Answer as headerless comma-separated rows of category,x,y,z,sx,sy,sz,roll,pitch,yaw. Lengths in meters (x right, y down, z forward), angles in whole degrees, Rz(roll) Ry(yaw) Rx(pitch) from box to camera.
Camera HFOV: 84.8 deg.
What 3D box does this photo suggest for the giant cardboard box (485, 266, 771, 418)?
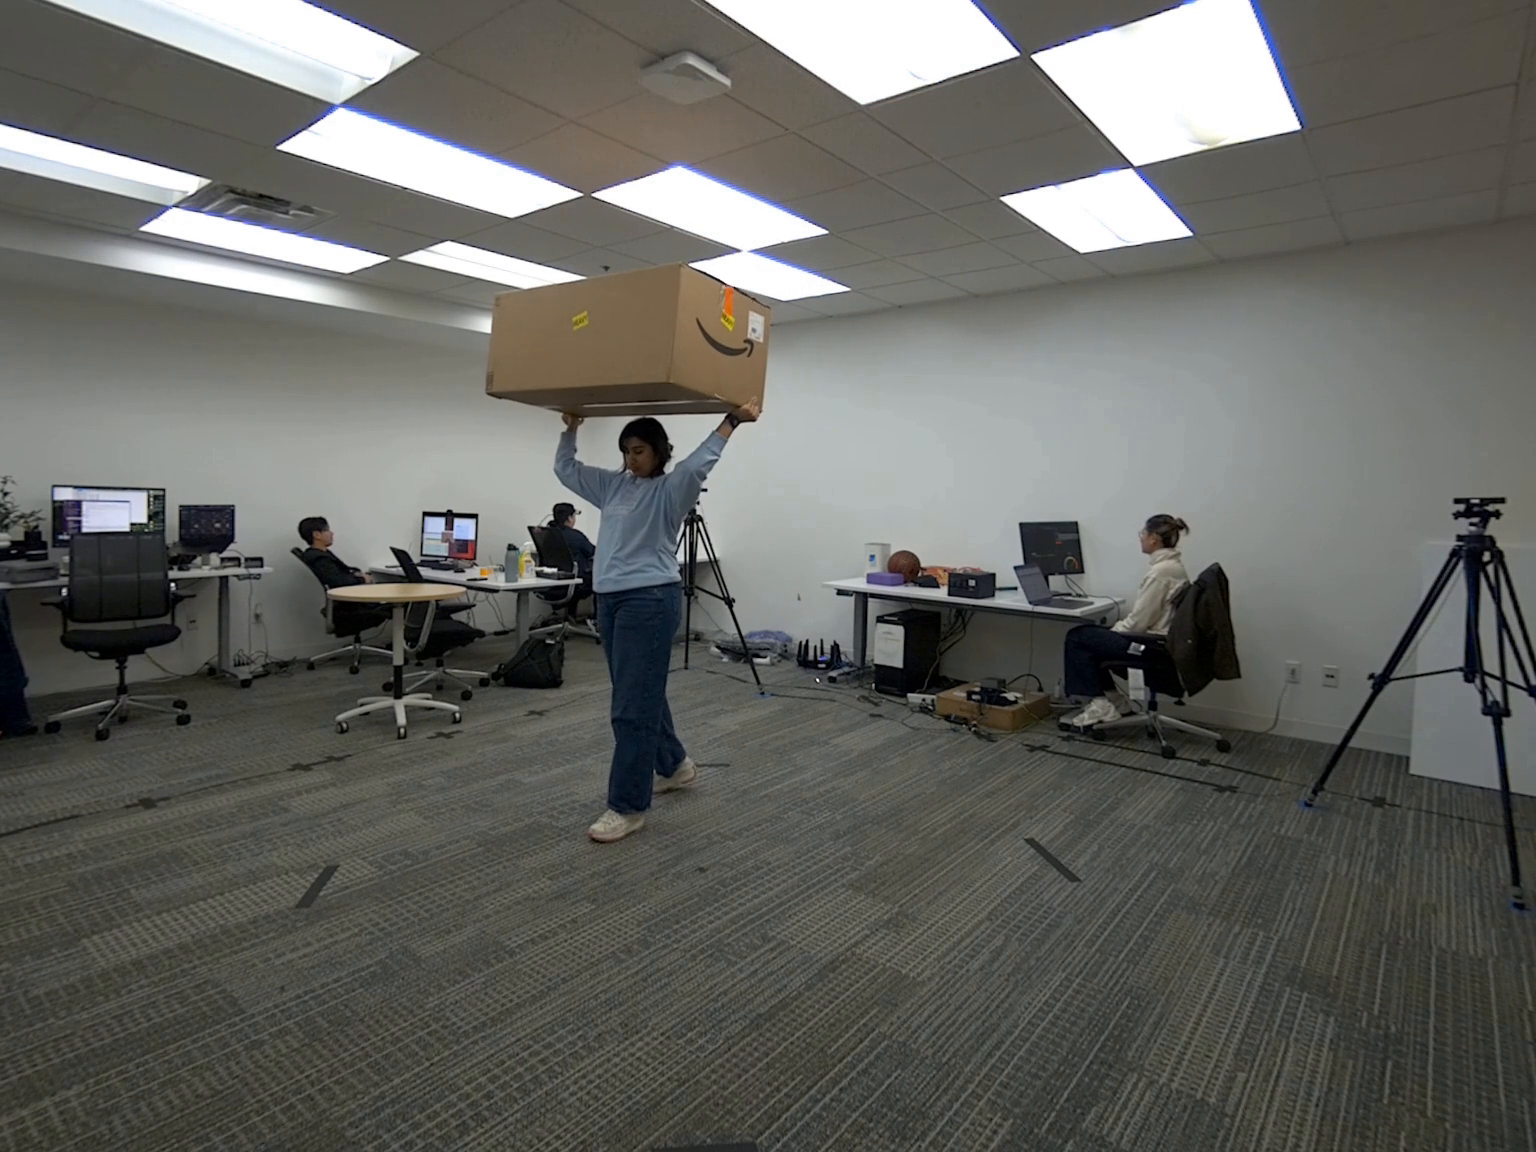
giant cardboard box,-0.593,-0.914,3.458,1.060,0.426,0.559,6,1,36
